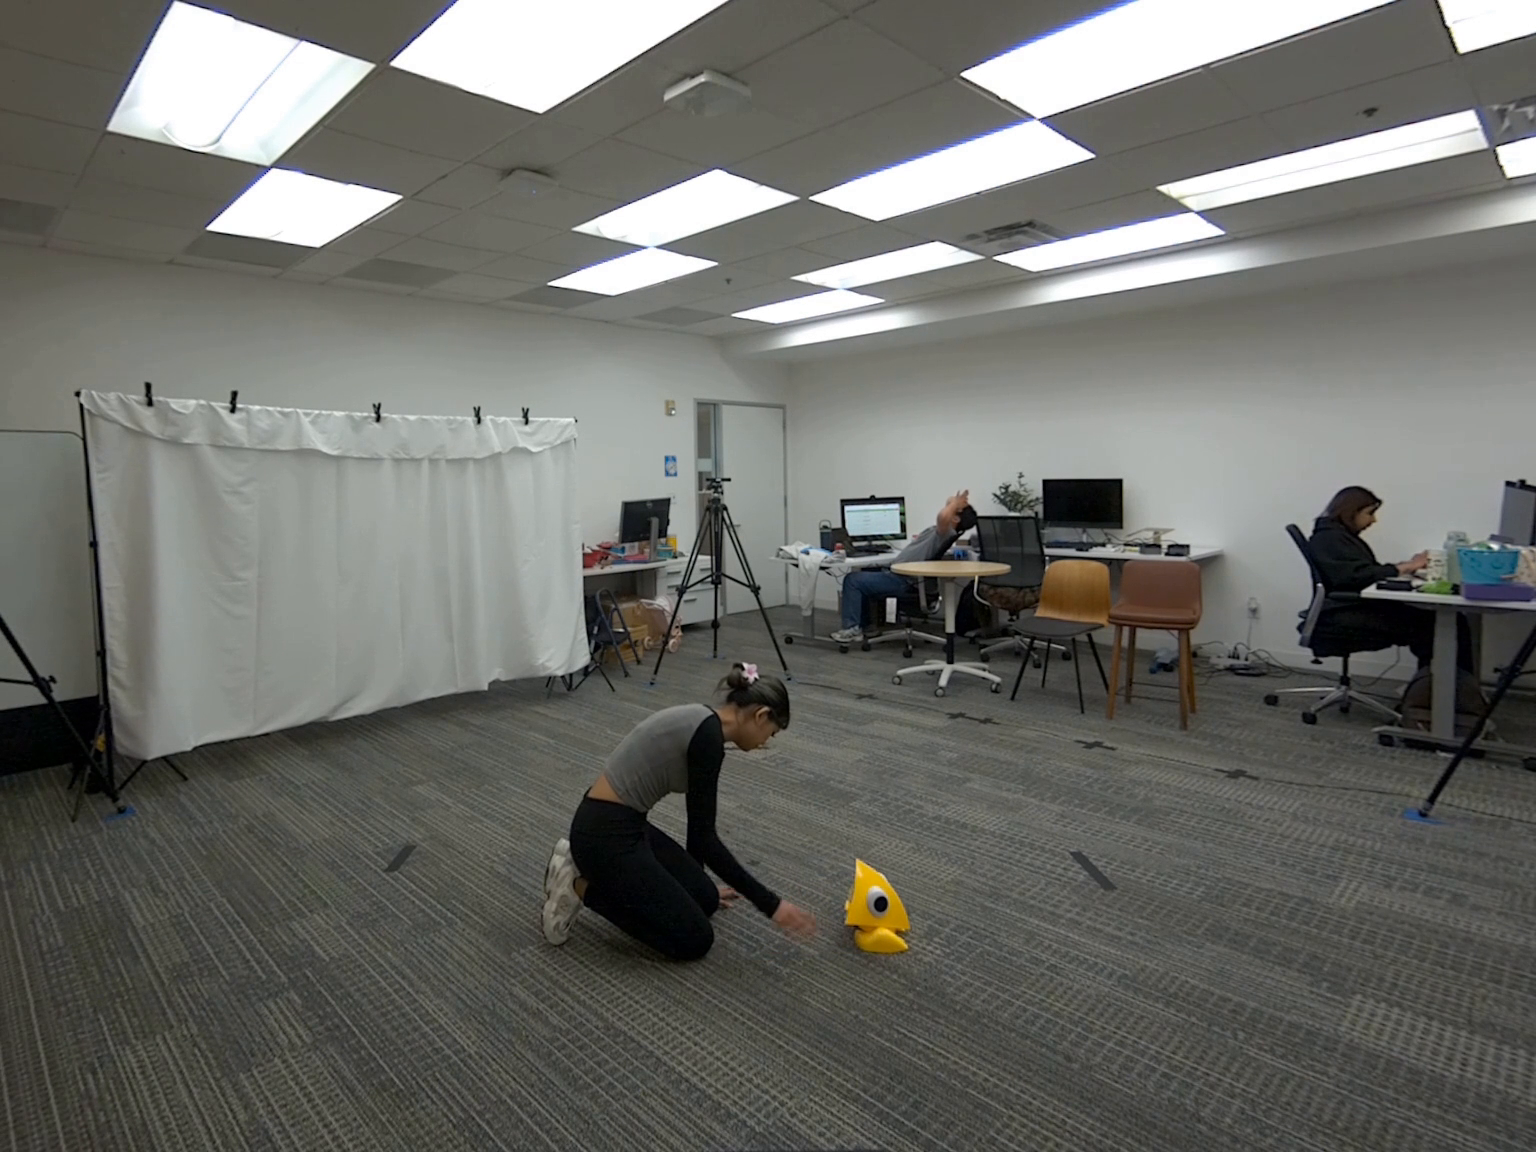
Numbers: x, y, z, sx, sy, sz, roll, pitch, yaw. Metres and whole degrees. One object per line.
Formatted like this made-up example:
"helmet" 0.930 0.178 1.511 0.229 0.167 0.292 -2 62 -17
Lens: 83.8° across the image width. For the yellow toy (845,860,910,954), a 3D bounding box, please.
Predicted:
"yellow toy" 0.340 0.978 2.599 0.195 0.230 0.203 -1 4 11
